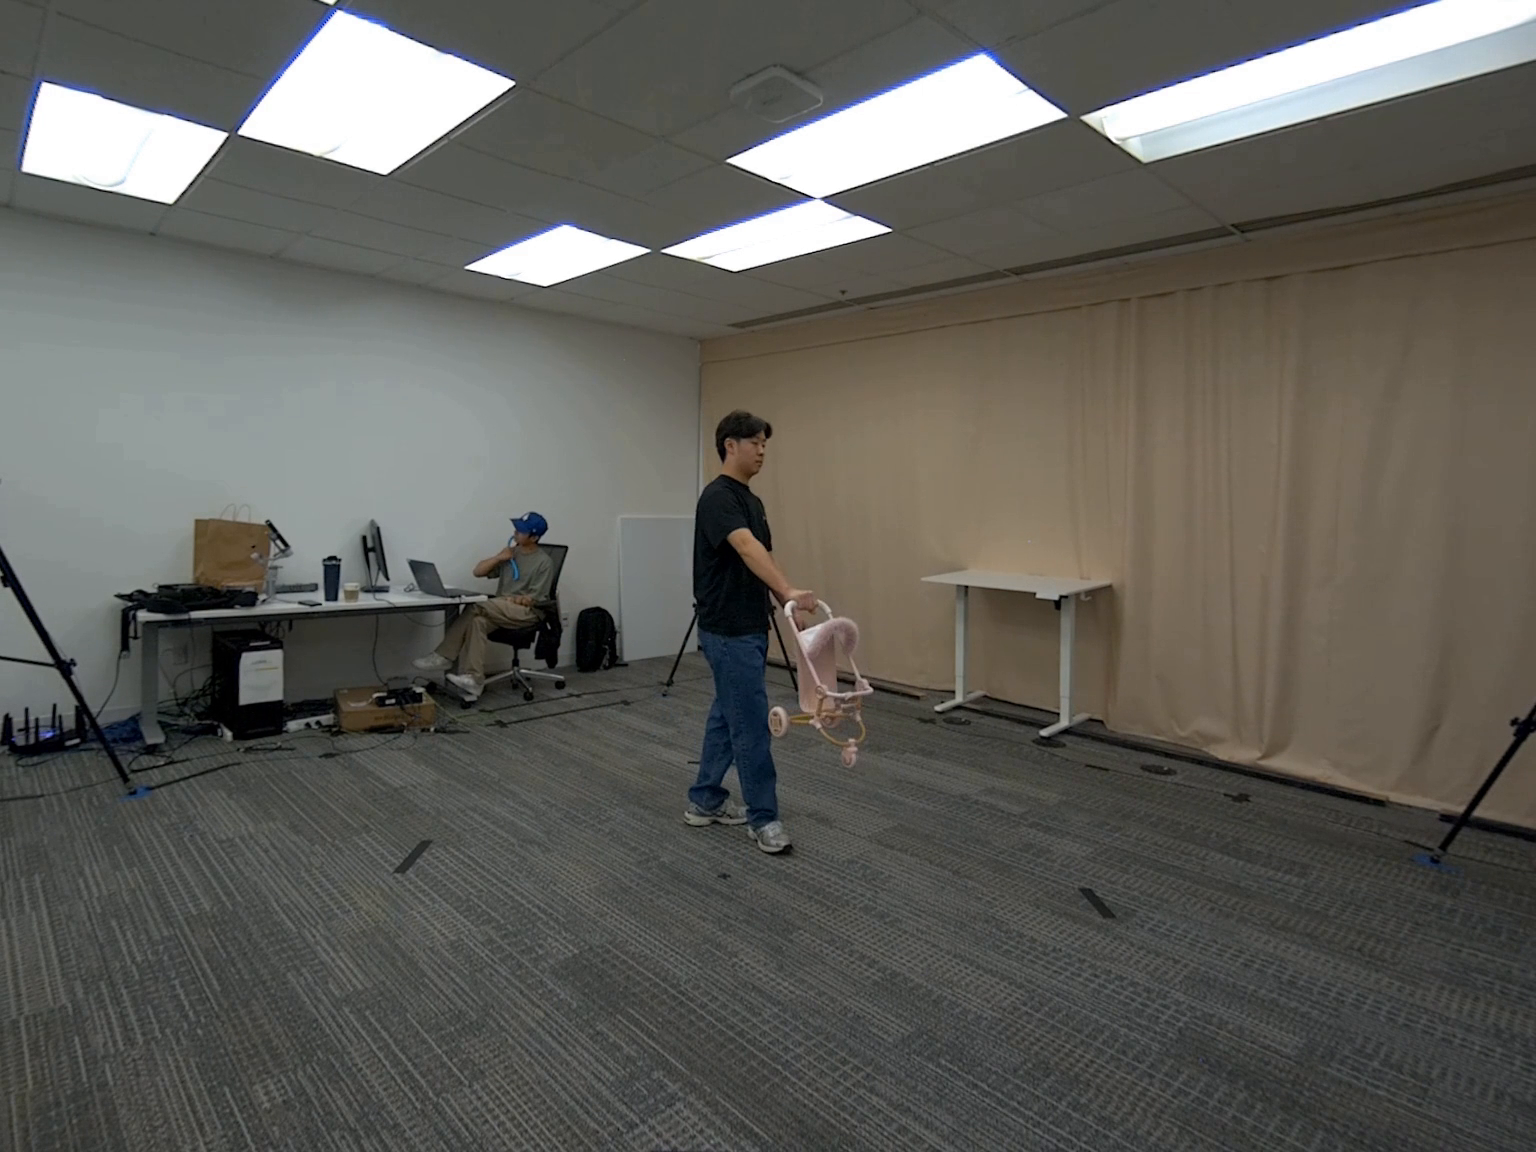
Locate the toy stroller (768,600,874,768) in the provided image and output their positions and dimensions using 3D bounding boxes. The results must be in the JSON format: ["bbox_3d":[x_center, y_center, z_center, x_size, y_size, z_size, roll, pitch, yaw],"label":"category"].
[{"bbox_3d":[0.207,0.371,2.944,0.275,0.534,0.350,1,4,-34],"label":"toy stroller"}]
